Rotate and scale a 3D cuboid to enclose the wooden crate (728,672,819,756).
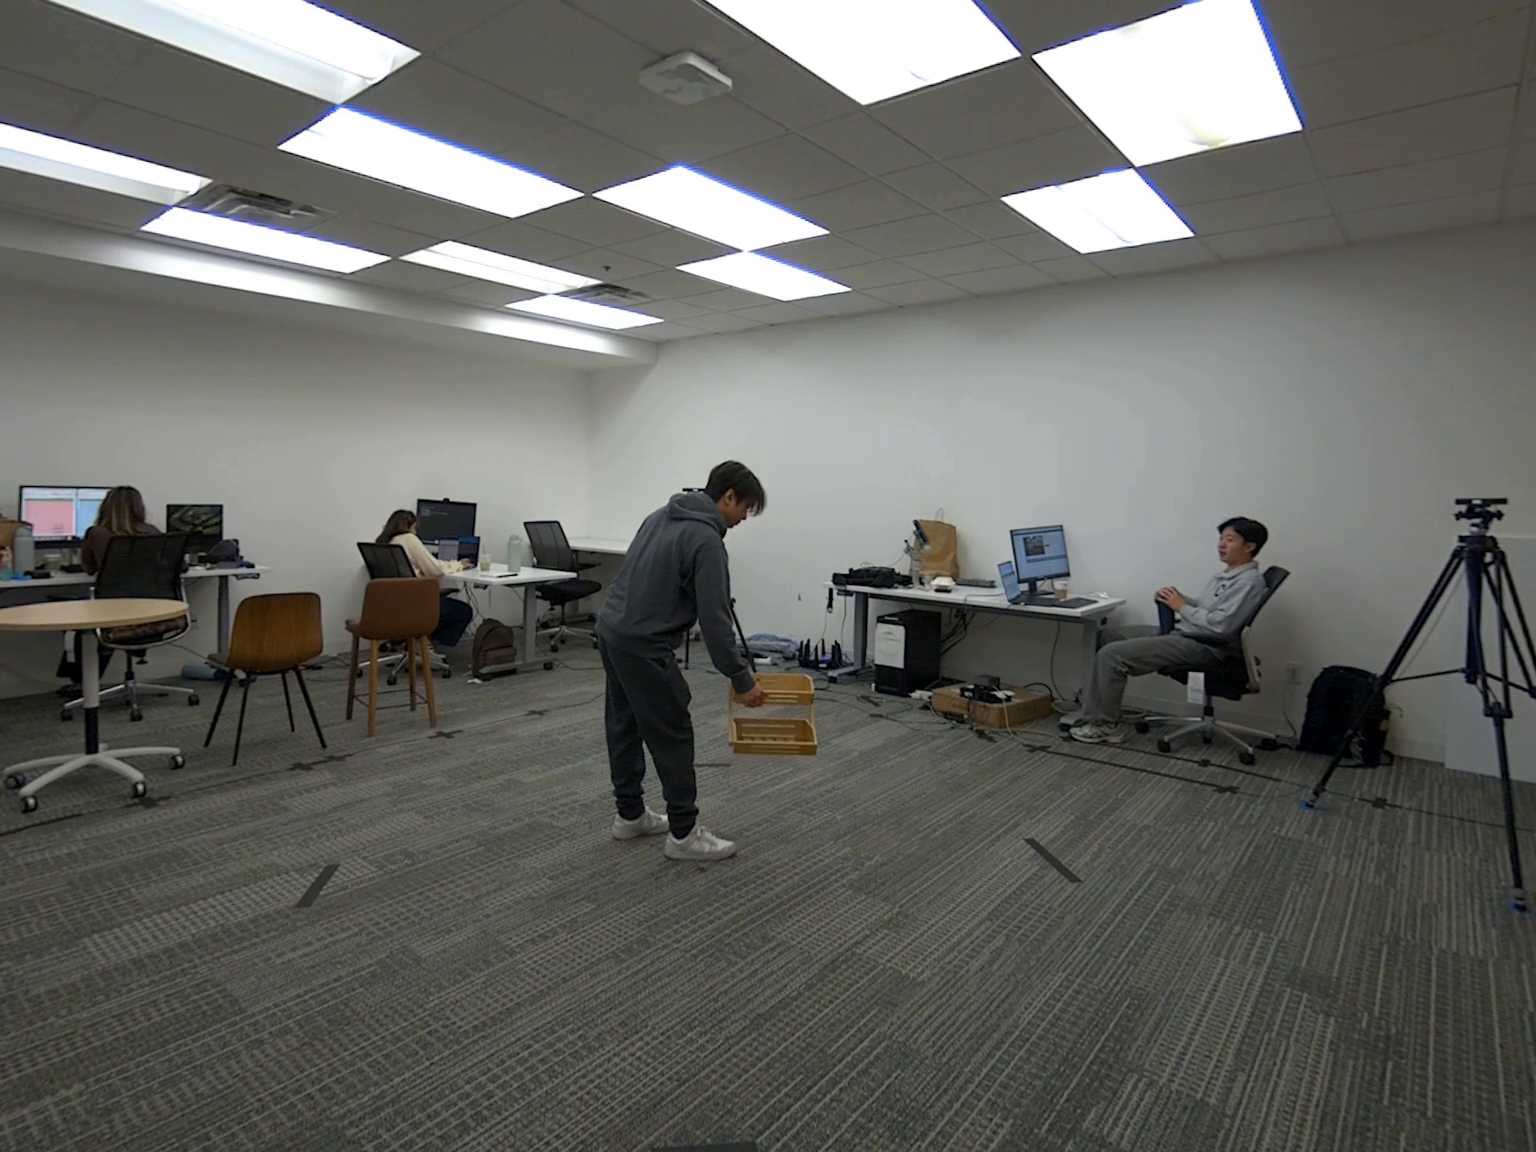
[{"bbox_3d":[0.009,0.512,3.202,0.323,0.274,0.303,2,-1,-5],"label":"wooden crate"}]
